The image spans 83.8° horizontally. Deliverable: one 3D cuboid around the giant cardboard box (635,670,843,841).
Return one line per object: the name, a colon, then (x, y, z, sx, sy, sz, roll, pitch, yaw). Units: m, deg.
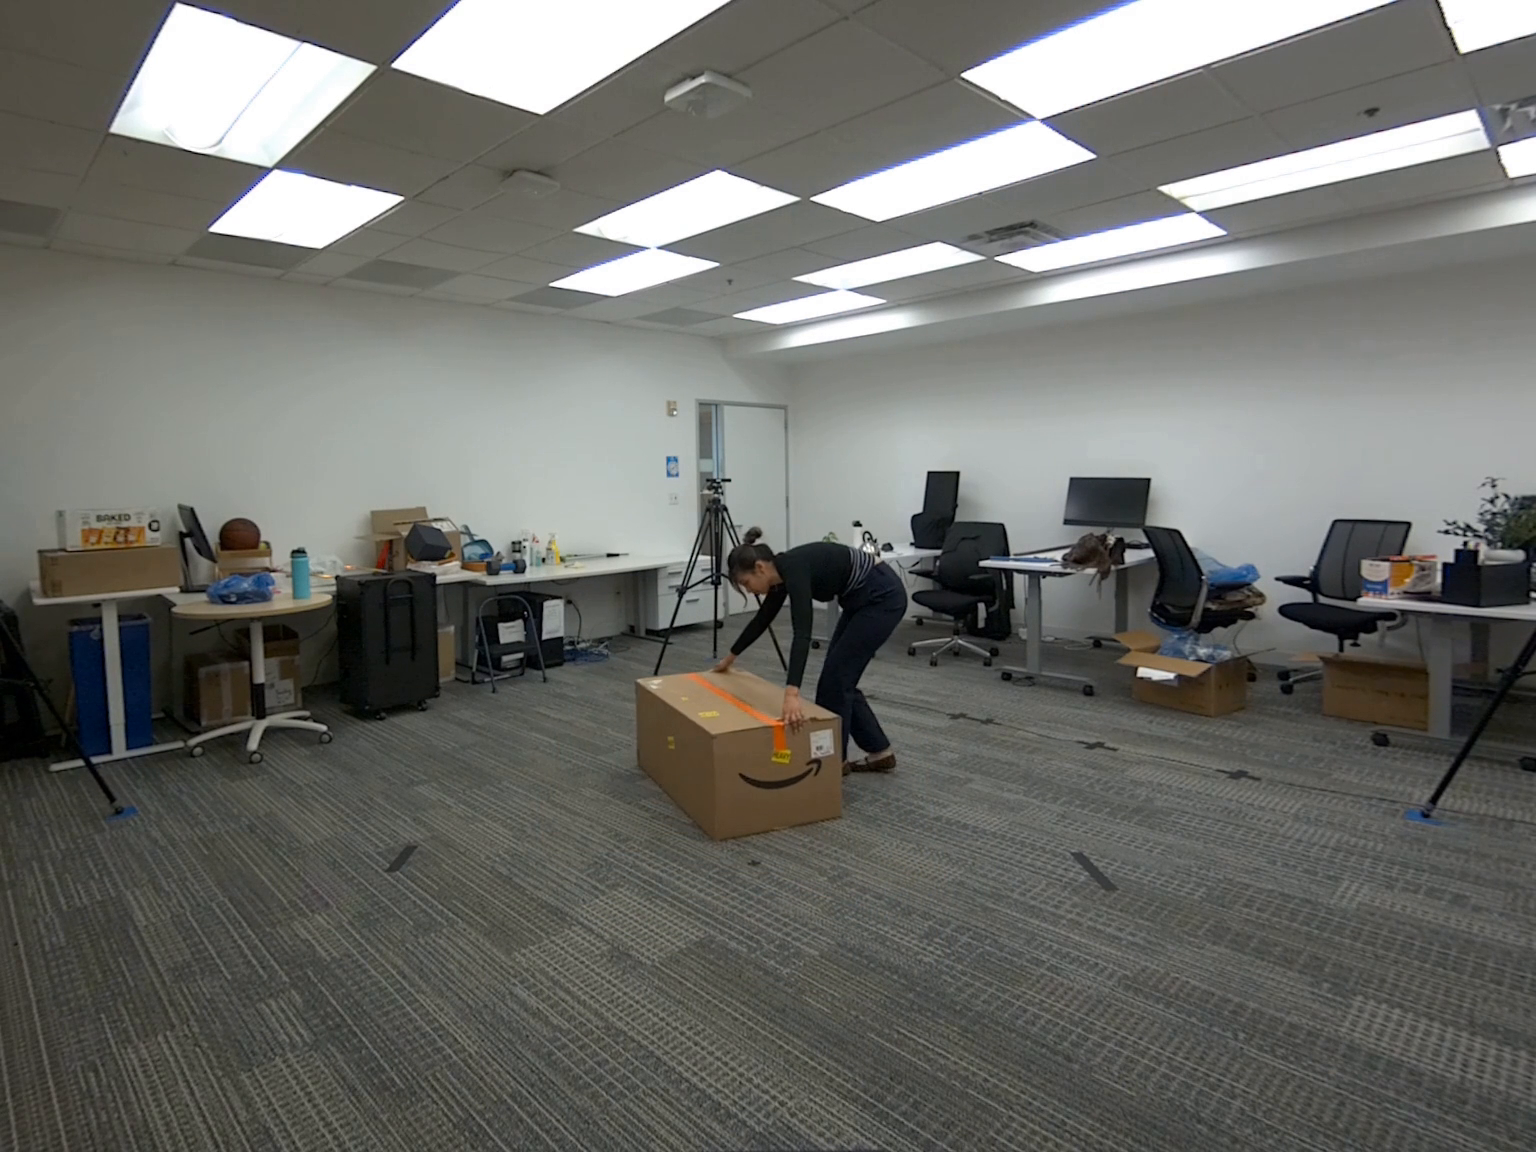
giant cardboard box: (-0.174, 0.750, 3.850, 0.566, 0.424, 1.051, -4, 6, -24)
